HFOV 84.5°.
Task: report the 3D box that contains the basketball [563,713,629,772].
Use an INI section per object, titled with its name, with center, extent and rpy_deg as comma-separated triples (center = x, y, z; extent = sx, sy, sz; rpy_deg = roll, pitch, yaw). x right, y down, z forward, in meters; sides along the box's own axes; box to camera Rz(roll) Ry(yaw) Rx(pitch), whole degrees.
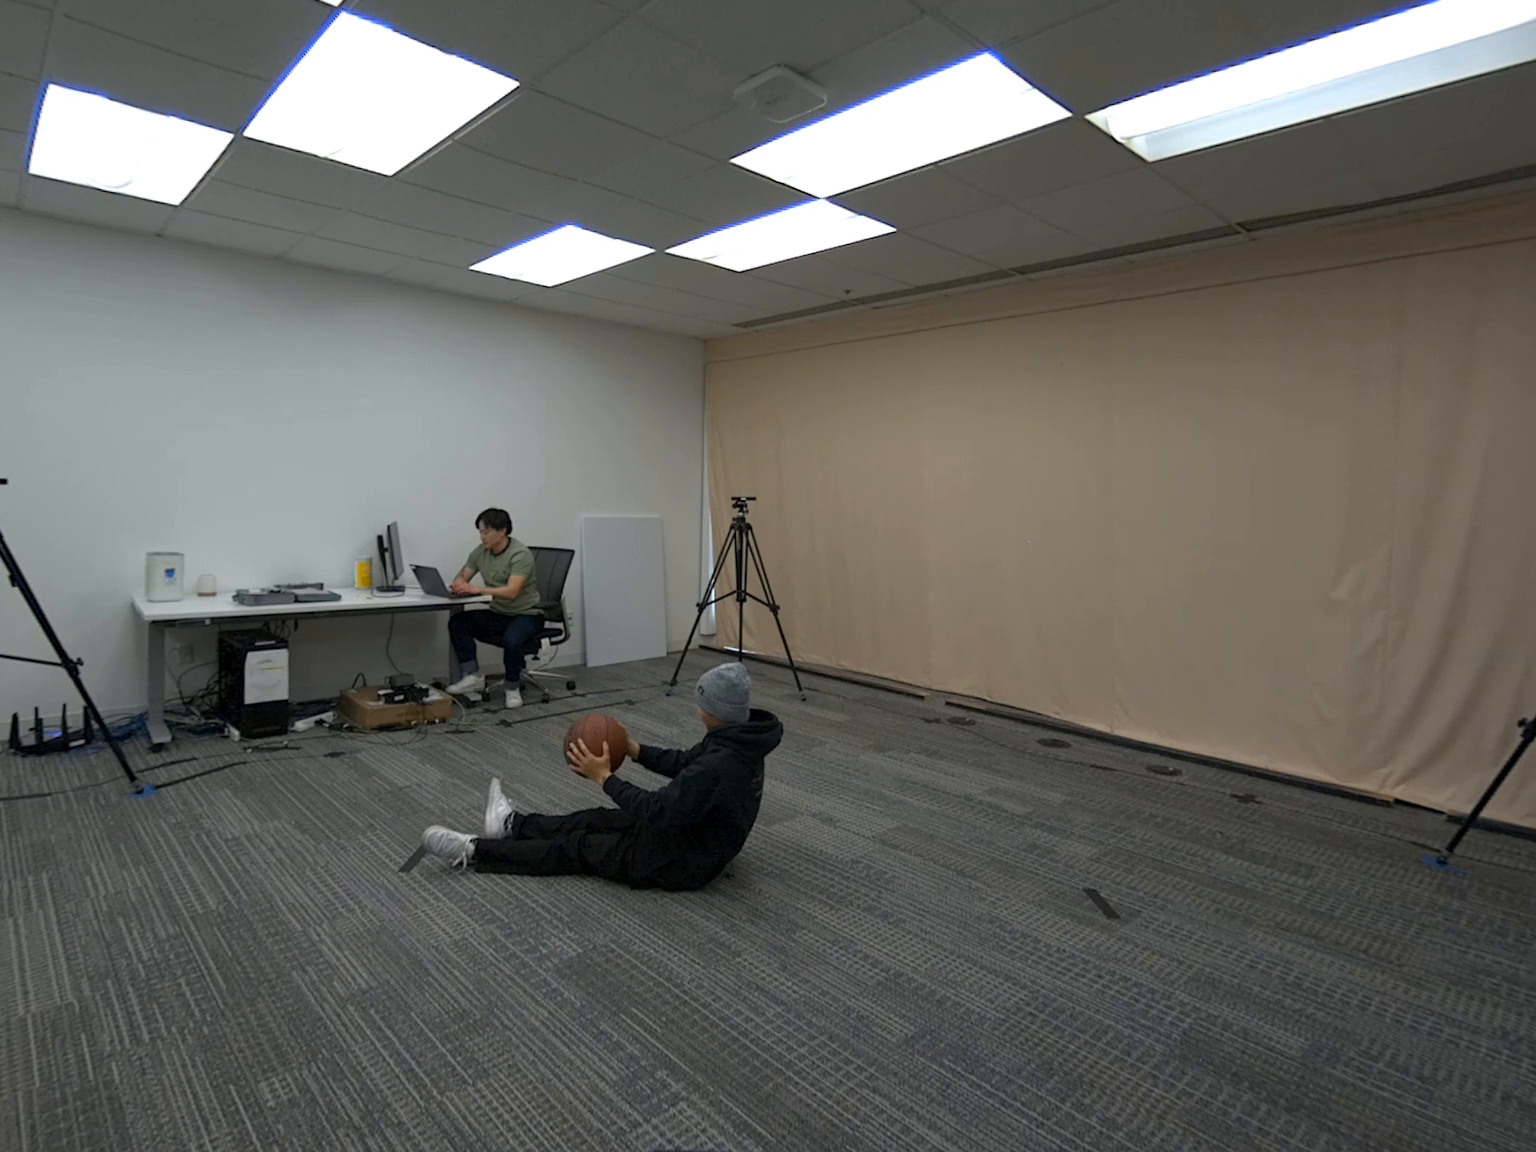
[basketball]
center = -0.645, 0.638, 3.178
extent = 0.236, 0.235, 0.237
rpy_deg = 1, 4, -1
